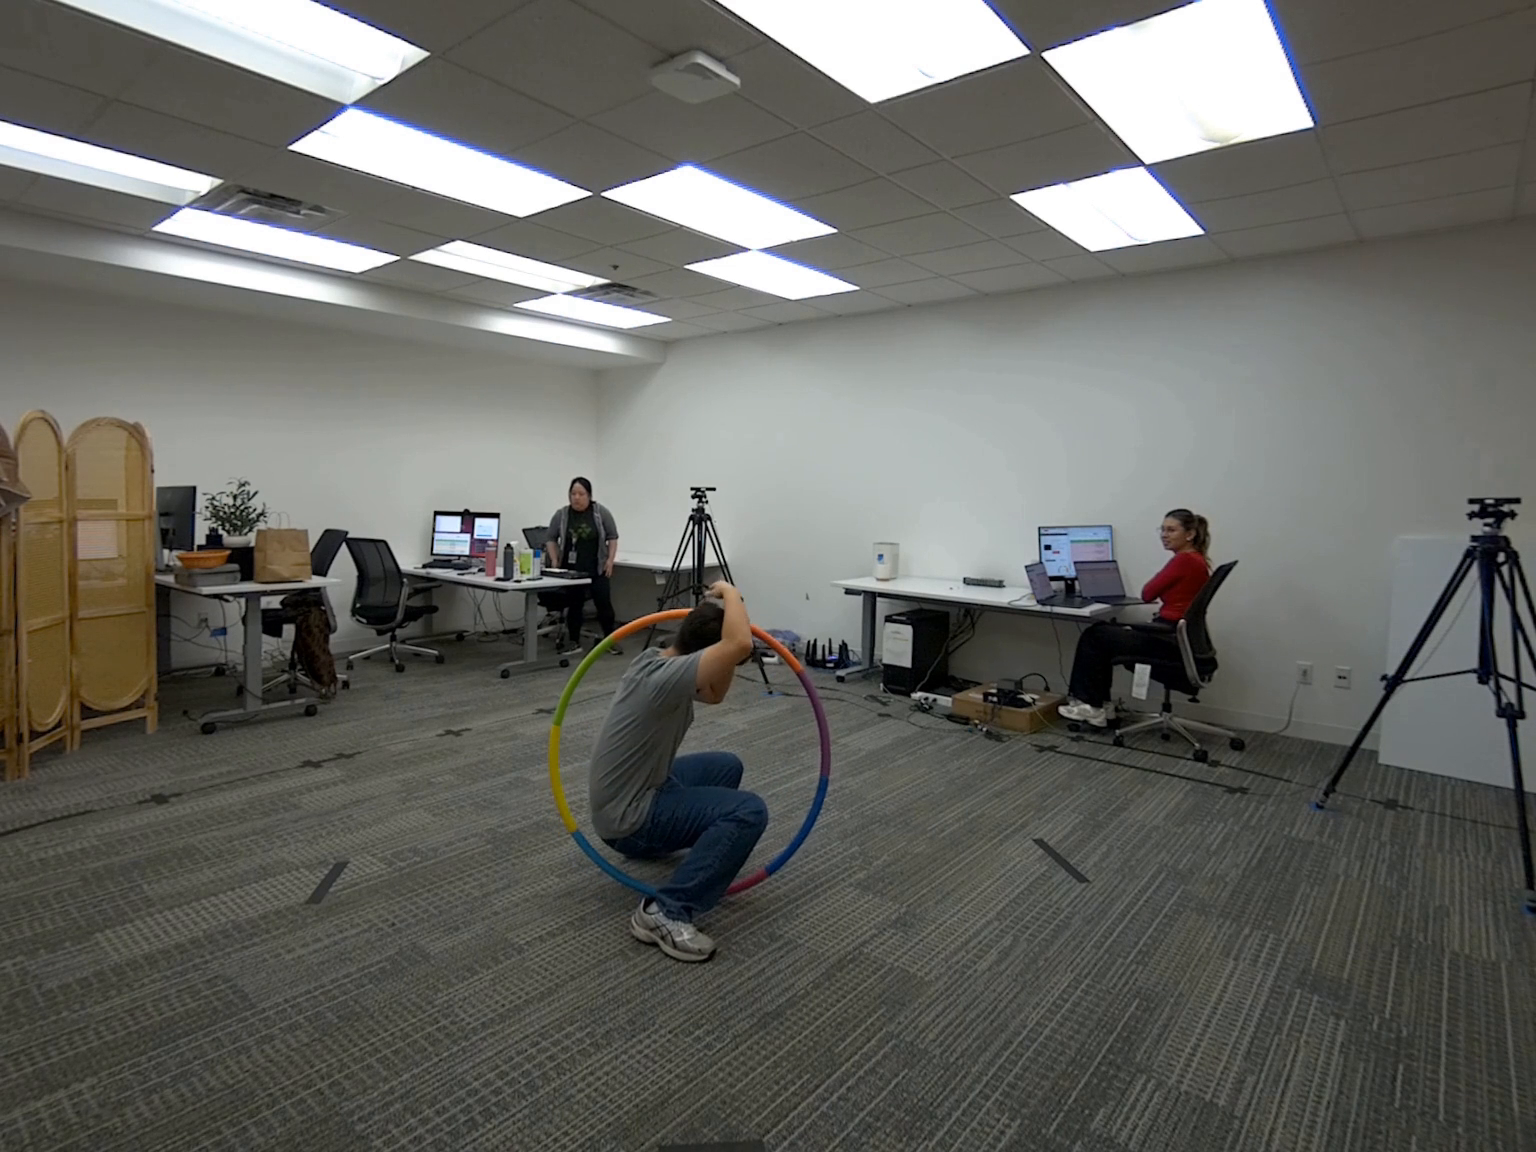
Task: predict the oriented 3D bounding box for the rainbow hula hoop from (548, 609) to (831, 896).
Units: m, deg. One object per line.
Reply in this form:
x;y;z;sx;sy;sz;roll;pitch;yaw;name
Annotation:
-0.291;0.605;2.964;0.984;0.991;0.035;1;-14;5;rainbow hula hoop
